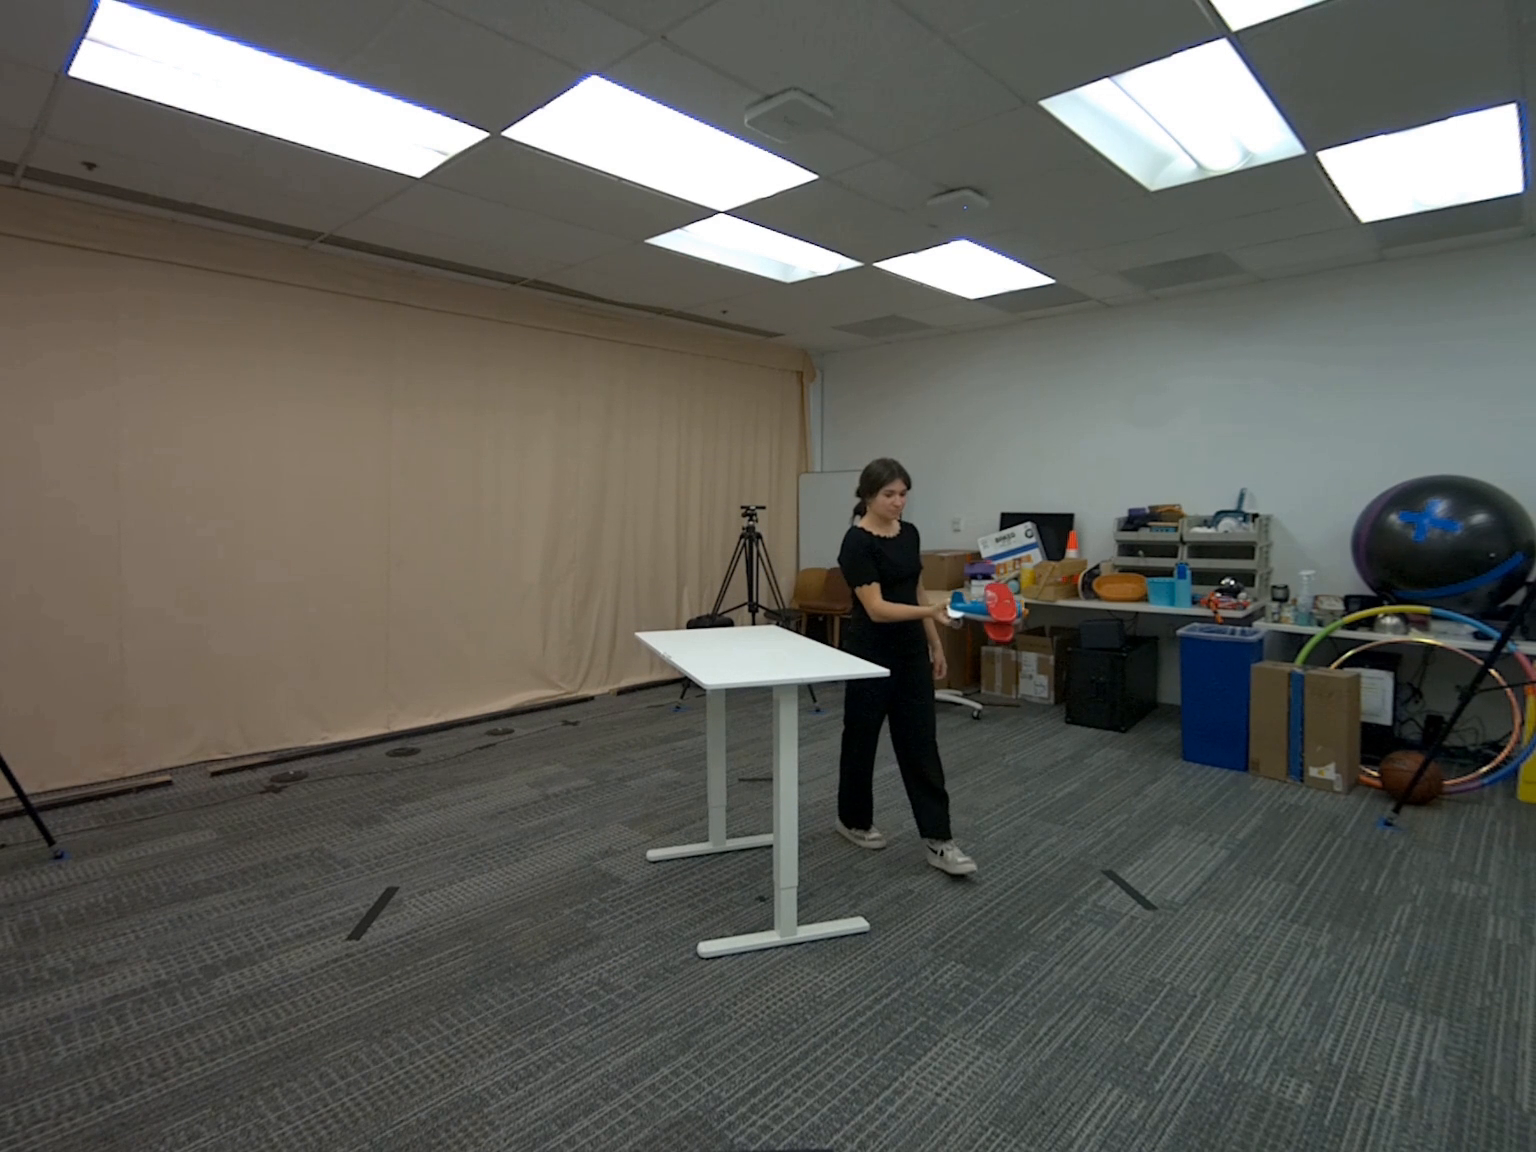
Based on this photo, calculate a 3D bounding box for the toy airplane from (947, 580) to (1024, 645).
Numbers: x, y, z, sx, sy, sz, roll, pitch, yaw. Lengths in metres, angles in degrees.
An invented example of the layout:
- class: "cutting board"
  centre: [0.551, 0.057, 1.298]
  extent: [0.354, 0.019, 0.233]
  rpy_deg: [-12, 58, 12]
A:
- class: "toy airplane"
  centre: [0.744, 0.131, 2.917]
  extent: [0.253, 0.155, 0.259]
  rpy_deg: [4, 31, -22]
